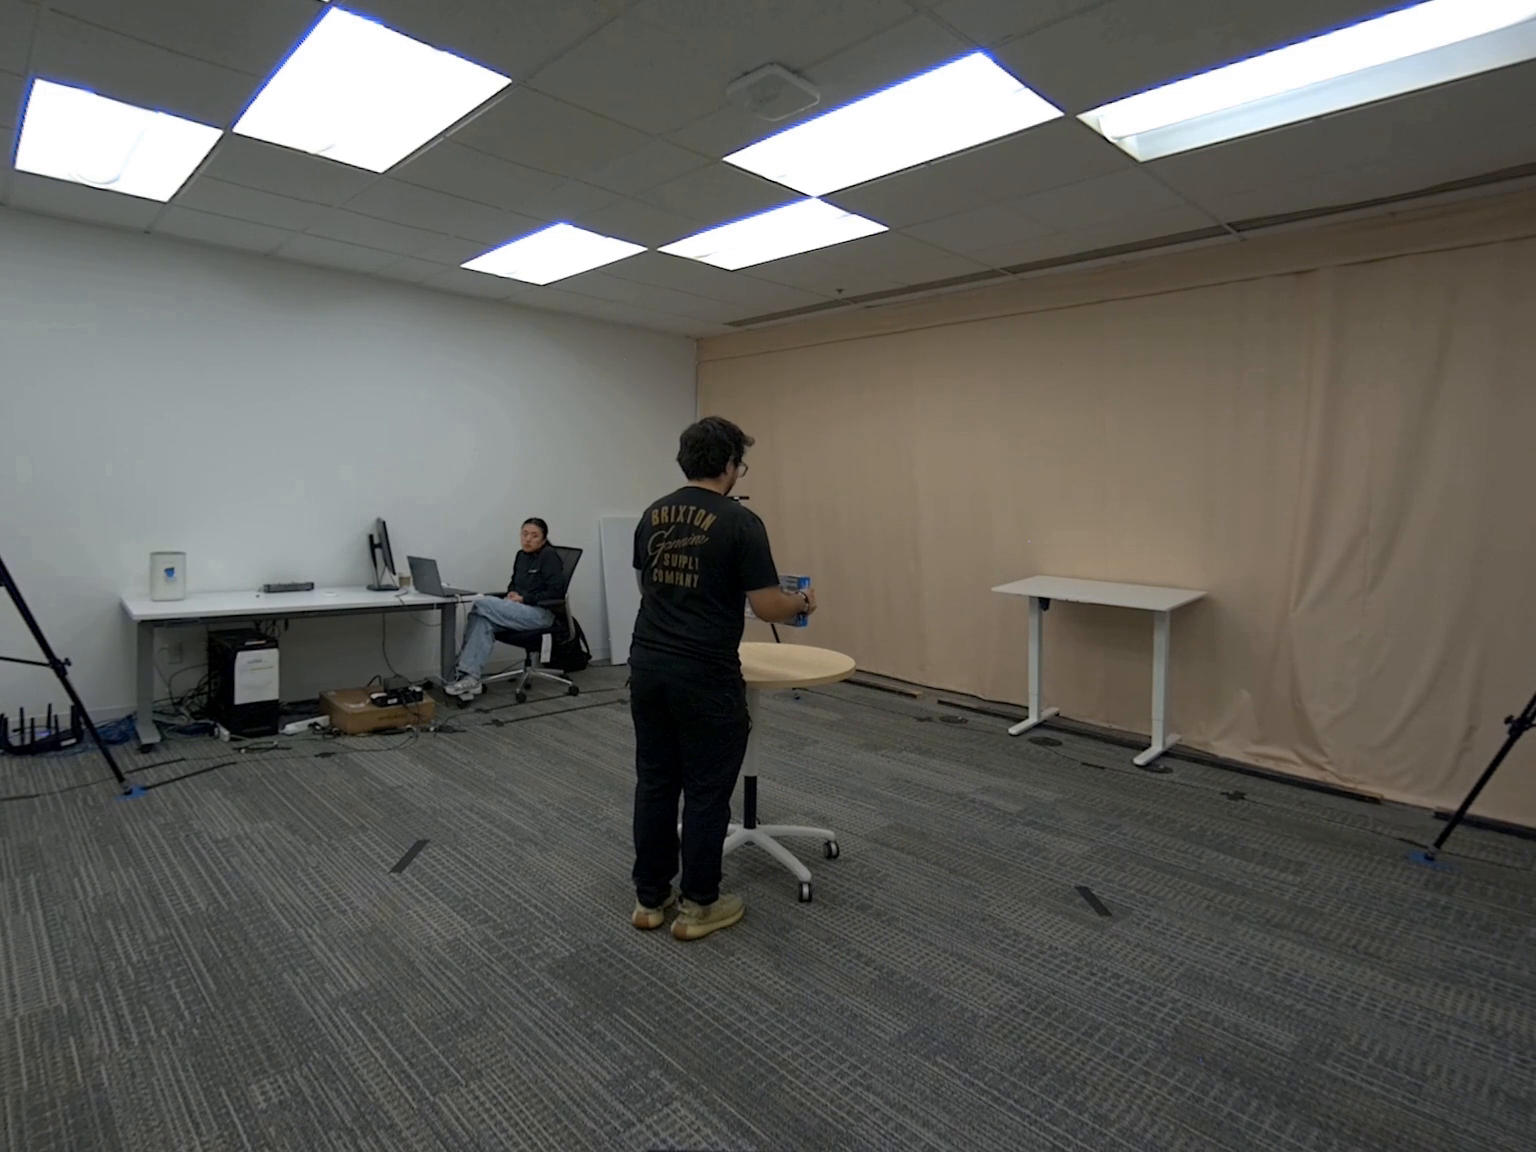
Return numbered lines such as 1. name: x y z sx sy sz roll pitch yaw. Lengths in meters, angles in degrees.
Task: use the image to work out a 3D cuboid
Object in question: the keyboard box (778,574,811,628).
1. keyboard box: -0.040 0.076 3.023 0.448 0.176 0.057 7 2 44
